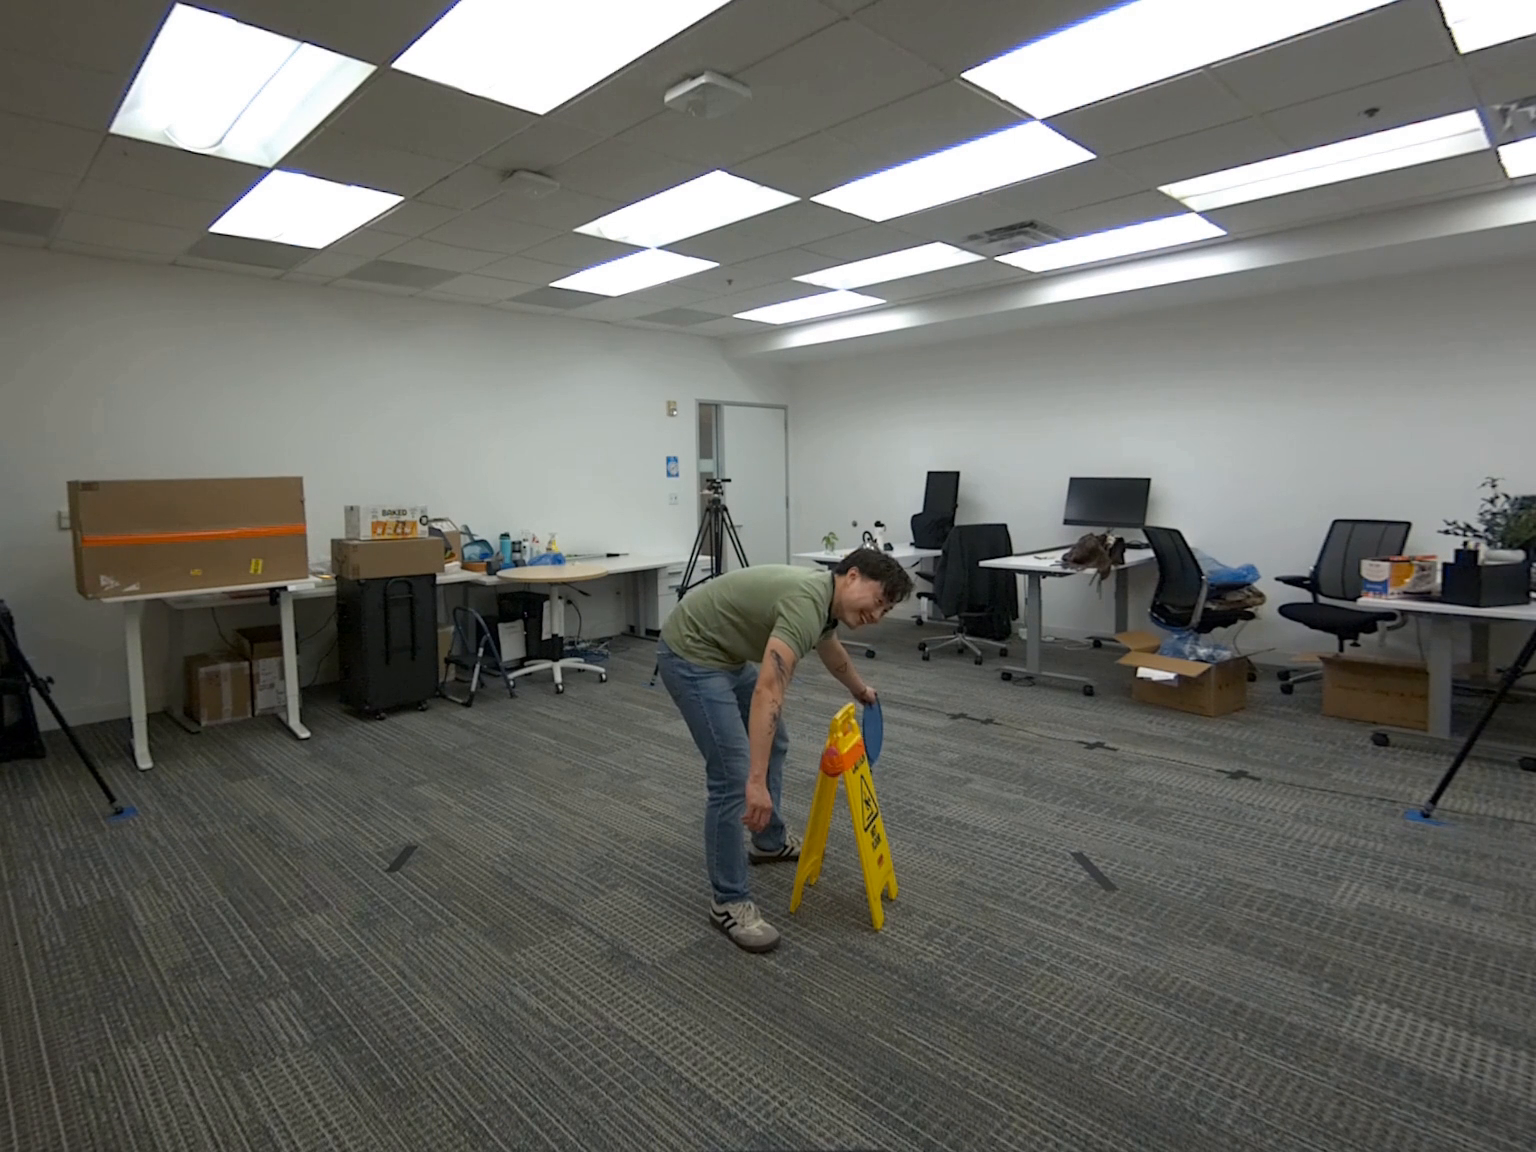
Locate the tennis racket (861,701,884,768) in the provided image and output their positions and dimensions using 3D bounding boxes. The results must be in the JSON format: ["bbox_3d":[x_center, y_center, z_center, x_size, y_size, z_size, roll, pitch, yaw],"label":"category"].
[{"bbox_3d":[0.394,0.656,3.269,0.032,0.441,0.205,-7,-39,24],"label":"tennis racket"}]
